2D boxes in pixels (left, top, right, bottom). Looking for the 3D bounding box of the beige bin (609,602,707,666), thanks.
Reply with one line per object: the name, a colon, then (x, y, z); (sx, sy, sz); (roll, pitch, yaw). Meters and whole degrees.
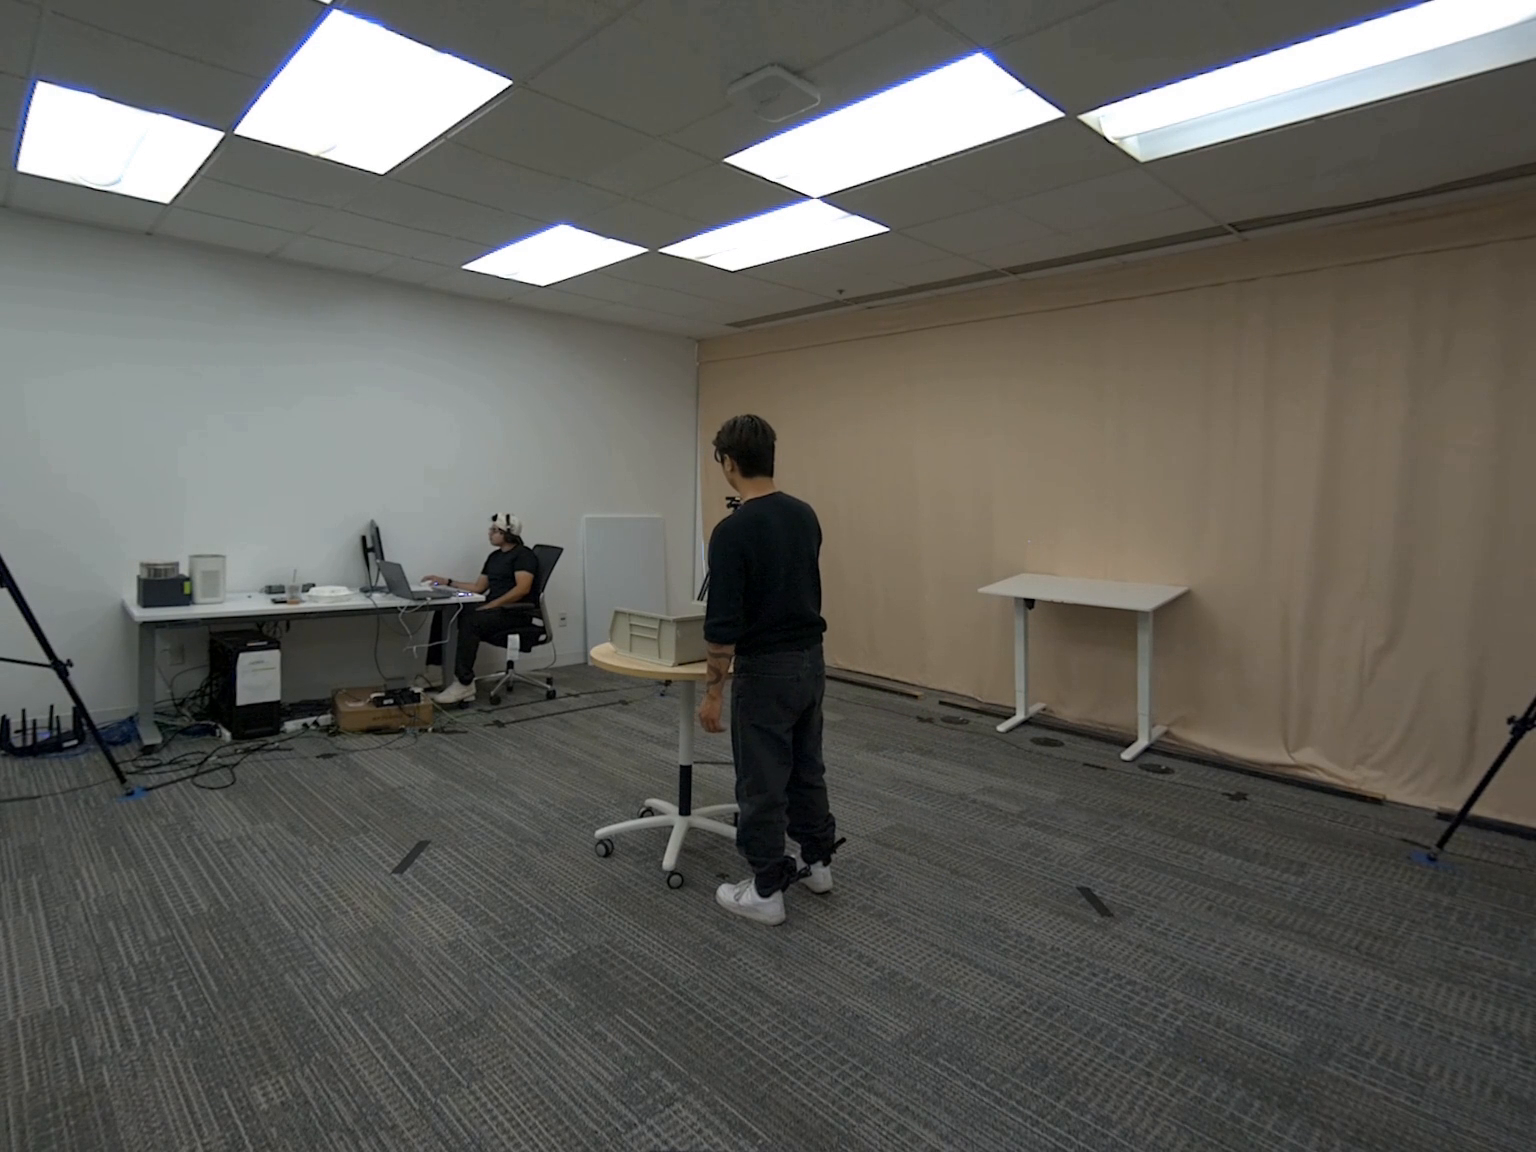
beige bin: (-0.342, 0.214, 3.262); (0.387, 0.188, 0.413); (7, 7, 41)
